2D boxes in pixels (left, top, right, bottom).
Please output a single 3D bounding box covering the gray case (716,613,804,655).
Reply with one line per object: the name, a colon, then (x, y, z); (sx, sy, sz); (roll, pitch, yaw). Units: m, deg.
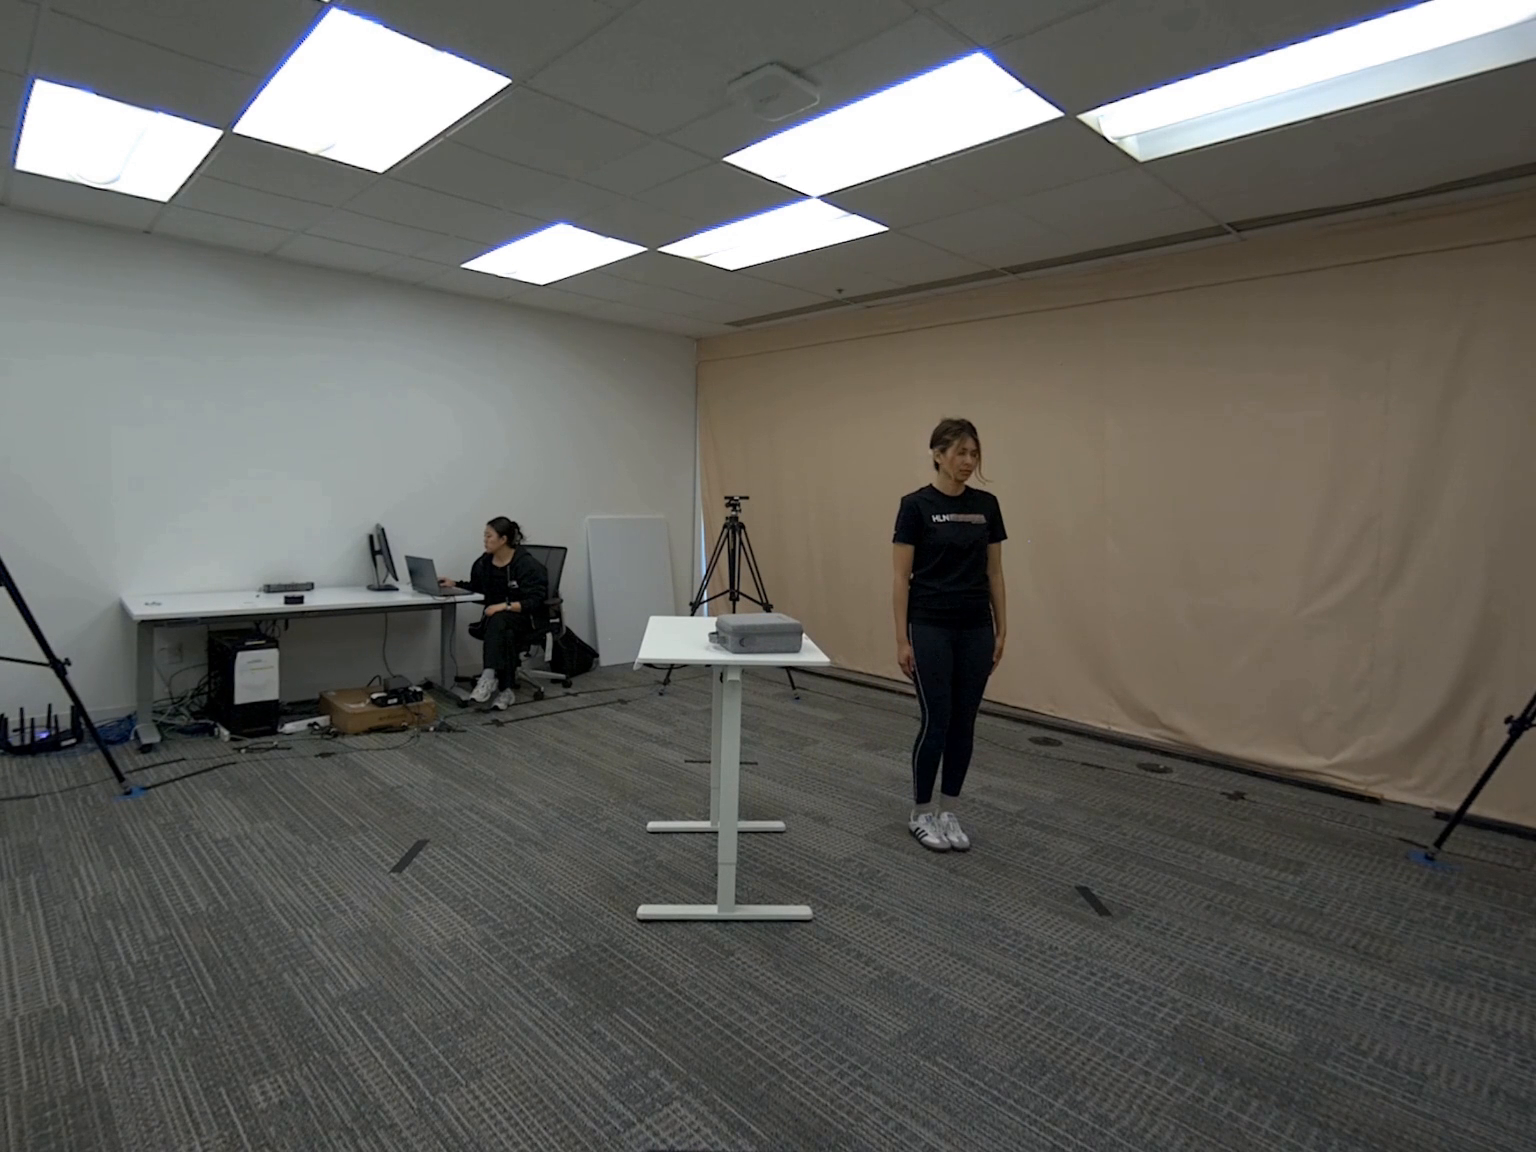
gray case: (-0.043, 0.192, 2.849); (0.258, 0.104, 0.260); (-1, 5, -15)
